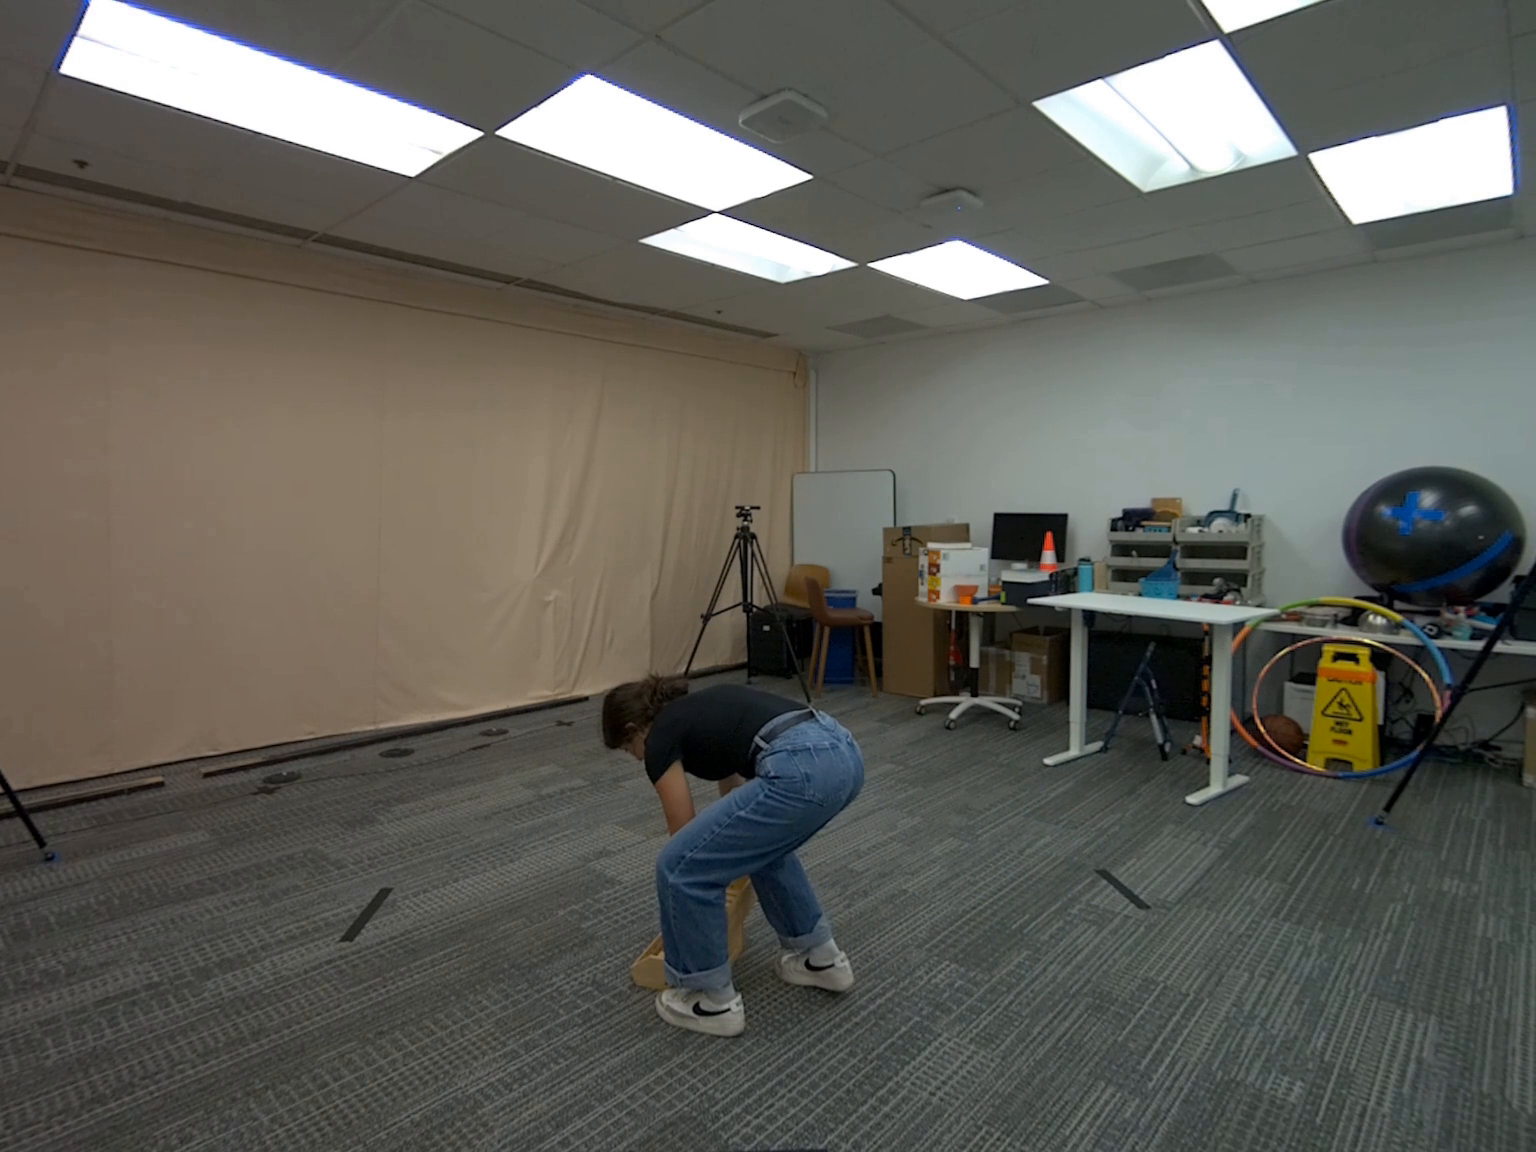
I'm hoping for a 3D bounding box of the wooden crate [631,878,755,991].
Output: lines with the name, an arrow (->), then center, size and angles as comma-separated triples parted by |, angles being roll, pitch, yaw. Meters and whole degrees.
wooden crate -> -0.213, 1.049, 2.538 | 0.308, 0.272, 0.319 | 3, 5, 18
